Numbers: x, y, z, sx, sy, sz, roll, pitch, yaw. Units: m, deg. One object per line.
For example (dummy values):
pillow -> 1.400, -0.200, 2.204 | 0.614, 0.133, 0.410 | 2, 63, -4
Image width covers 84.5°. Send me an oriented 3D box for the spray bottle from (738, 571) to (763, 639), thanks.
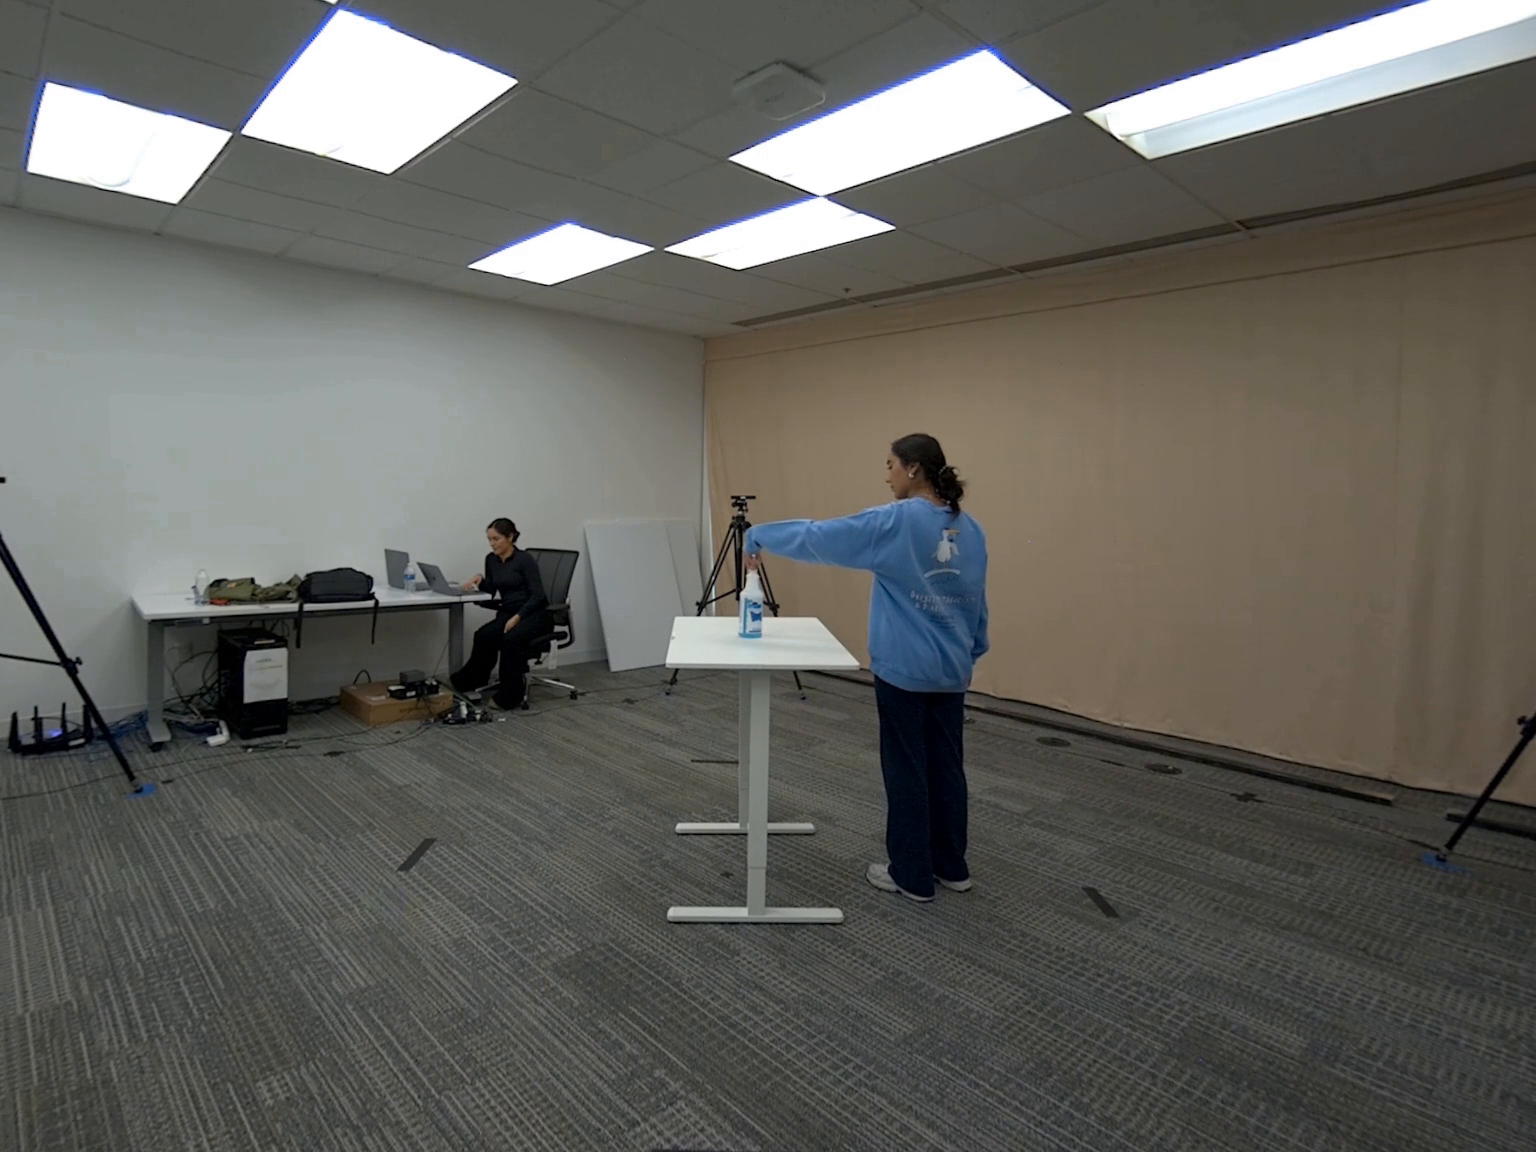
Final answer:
spray bottle -> -0.061, 0.075, 3.092 | 0.089, 0.297, 0.088 | 4, 3, 26
